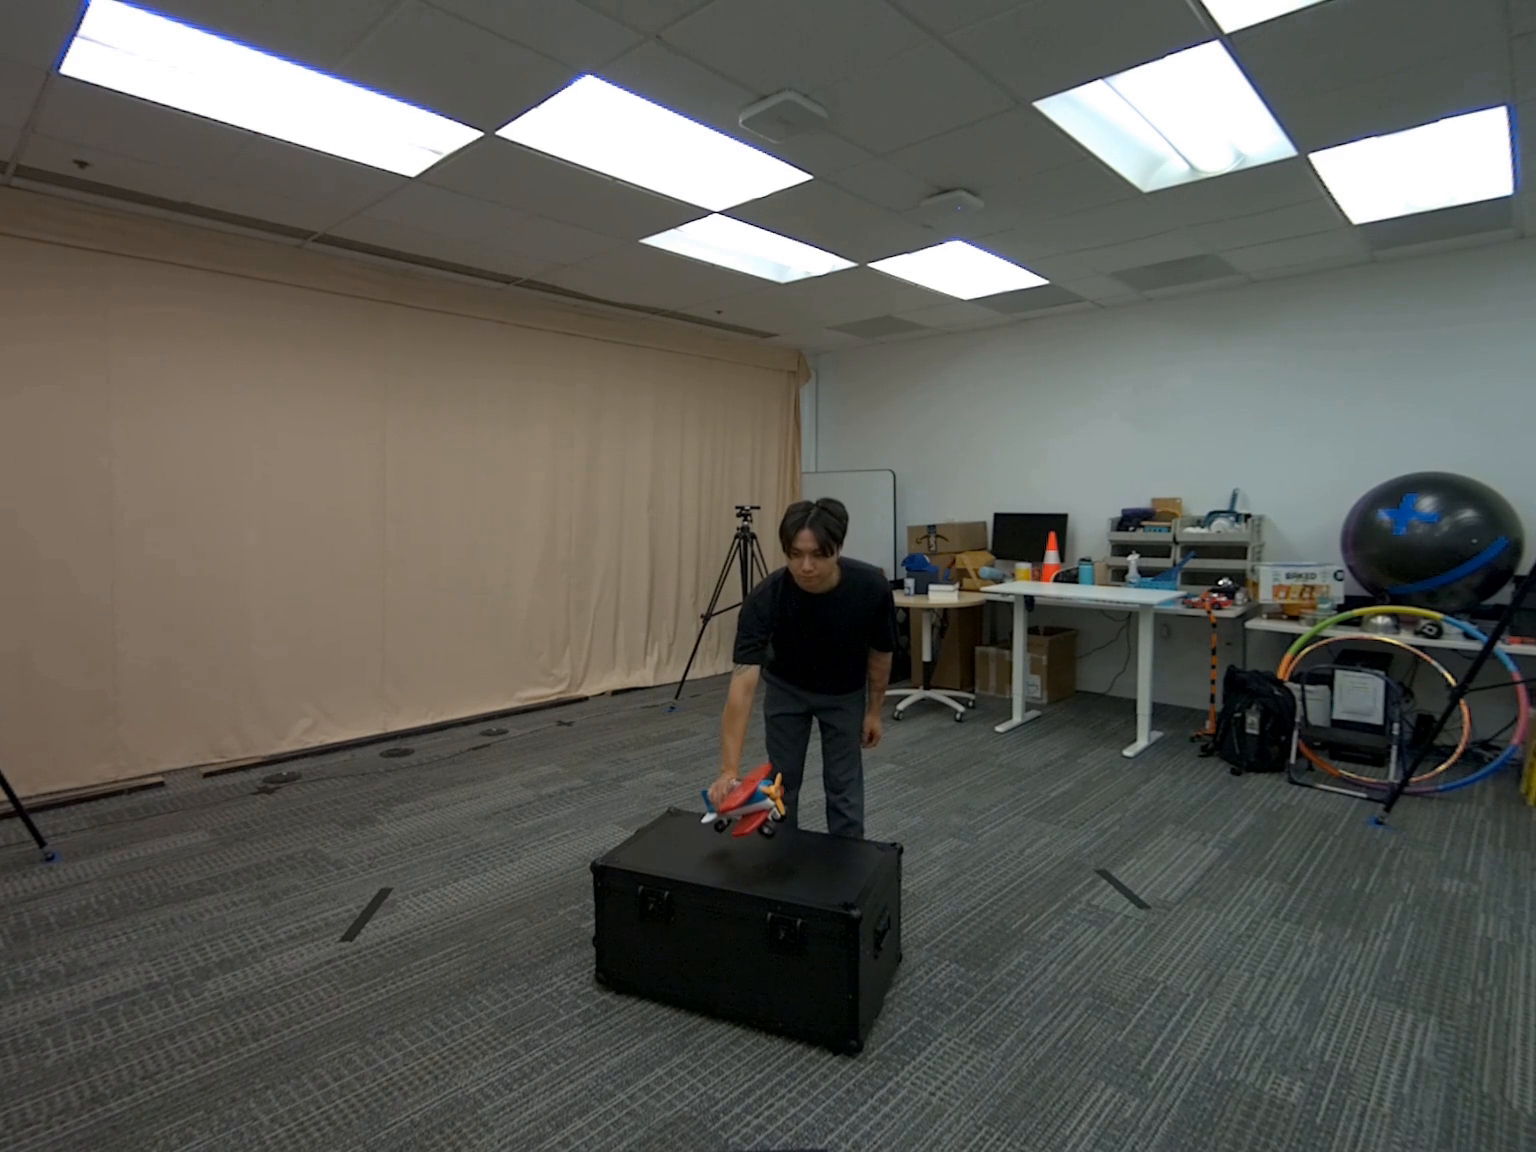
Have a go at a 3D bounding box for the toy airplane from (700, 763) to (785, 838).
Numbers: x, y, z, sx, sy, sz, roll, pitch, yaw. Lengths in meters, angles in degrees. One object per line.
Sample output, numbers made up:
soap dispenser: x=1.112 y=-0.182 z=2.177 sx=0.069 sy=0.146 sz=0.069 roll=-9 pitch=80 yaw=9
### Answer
toy airplane: x=-0.077 y=0.676 z=2.436 sx=0.260 sy=0.155 sz=0.252 roll=-14 pitch=10 yaw=4
